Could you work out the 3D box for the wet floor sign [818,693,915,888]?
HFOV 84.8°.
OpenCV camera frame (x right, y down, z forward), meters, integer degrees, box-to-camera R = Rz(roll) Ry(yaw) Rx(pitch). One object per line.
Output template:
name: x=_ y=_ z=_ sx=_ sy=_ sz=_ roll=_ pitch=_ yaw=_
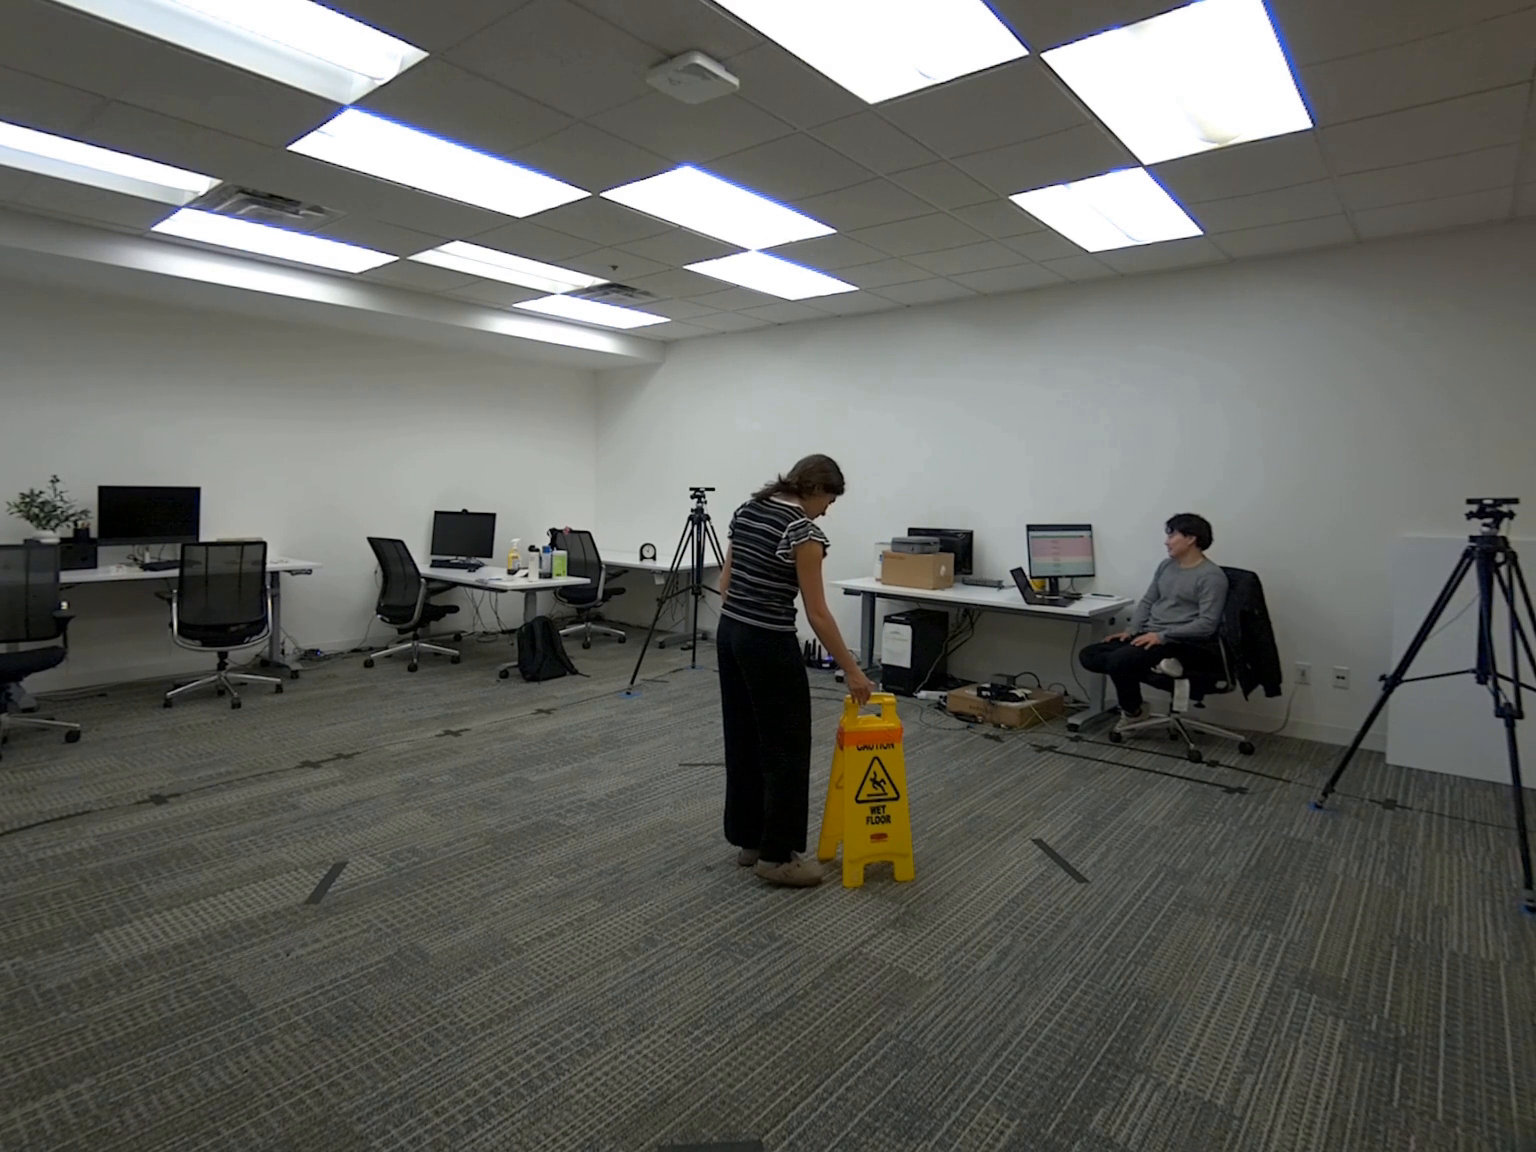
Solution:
wet floor sign: x=0.358 y=0.756 z=3.111 sx=0.277 sy=0.644 sz=0.296 roll=0 pitch=4 yaw=-18
